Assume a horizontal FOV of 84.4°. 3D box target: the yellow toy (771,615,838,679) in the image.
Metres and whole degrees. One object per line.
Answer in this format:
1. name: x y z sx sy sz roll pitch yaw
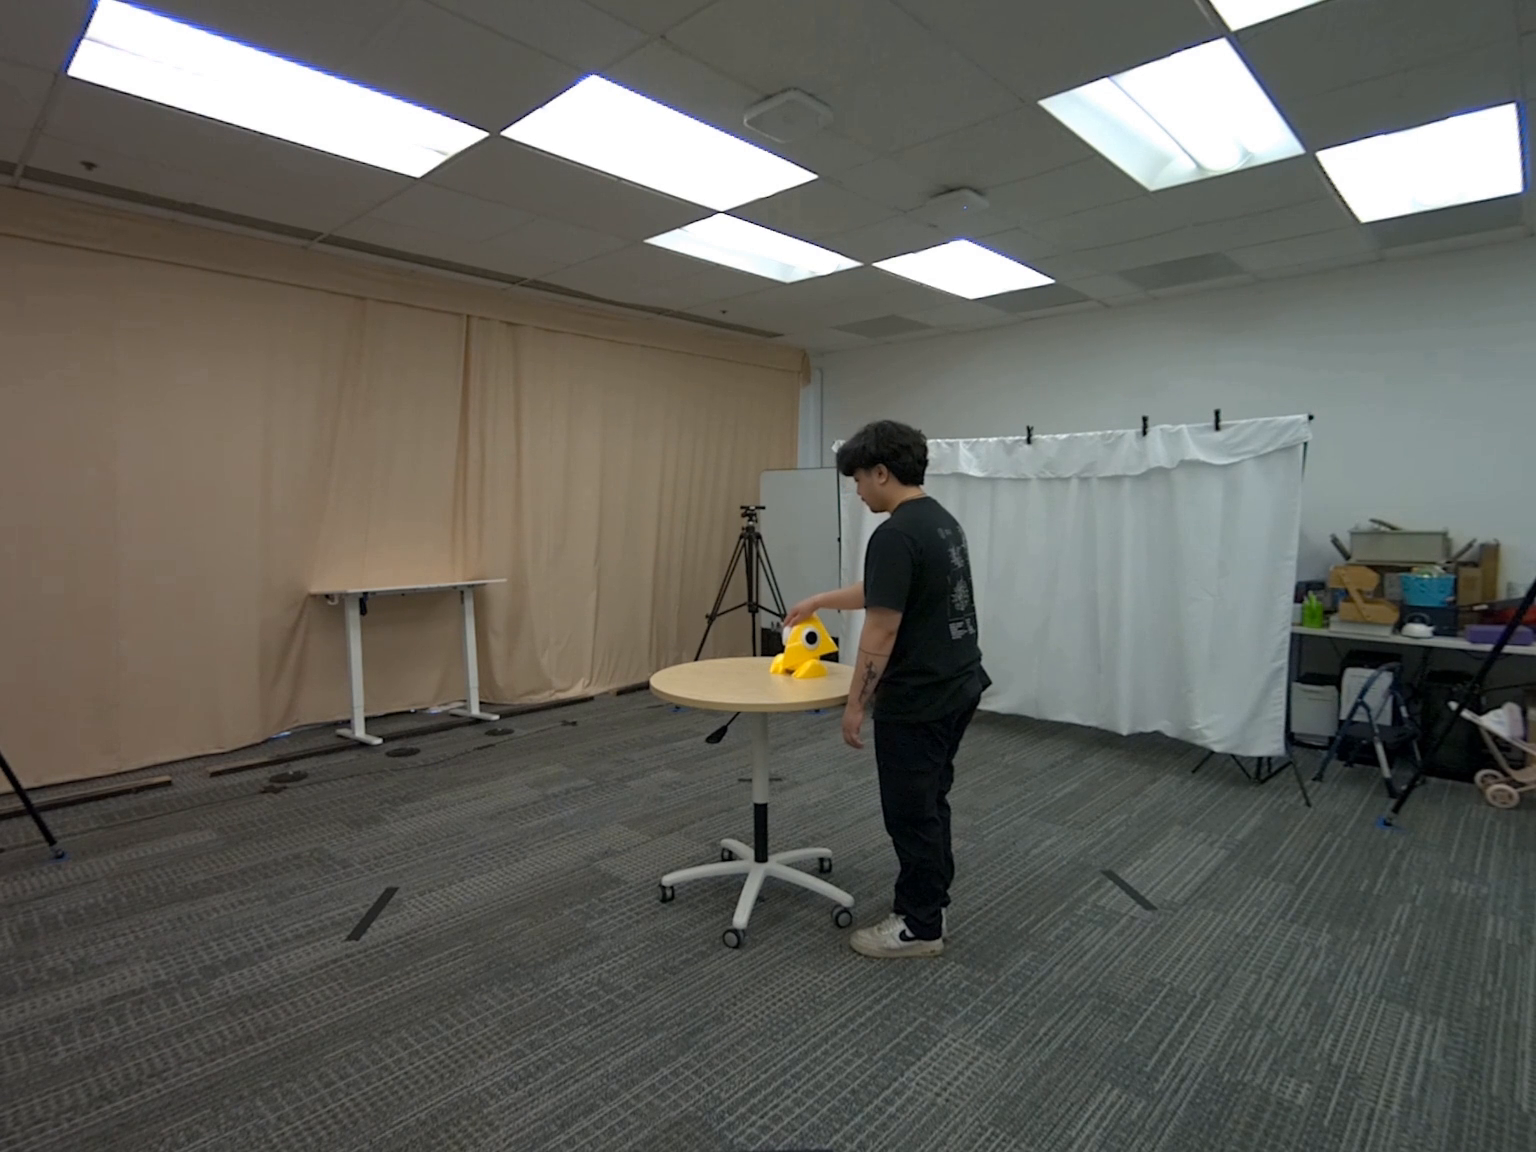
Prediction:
1. yellow toy: 0.116 0.232 3.015 0.187 0.230 0.211 -4 5 -45
